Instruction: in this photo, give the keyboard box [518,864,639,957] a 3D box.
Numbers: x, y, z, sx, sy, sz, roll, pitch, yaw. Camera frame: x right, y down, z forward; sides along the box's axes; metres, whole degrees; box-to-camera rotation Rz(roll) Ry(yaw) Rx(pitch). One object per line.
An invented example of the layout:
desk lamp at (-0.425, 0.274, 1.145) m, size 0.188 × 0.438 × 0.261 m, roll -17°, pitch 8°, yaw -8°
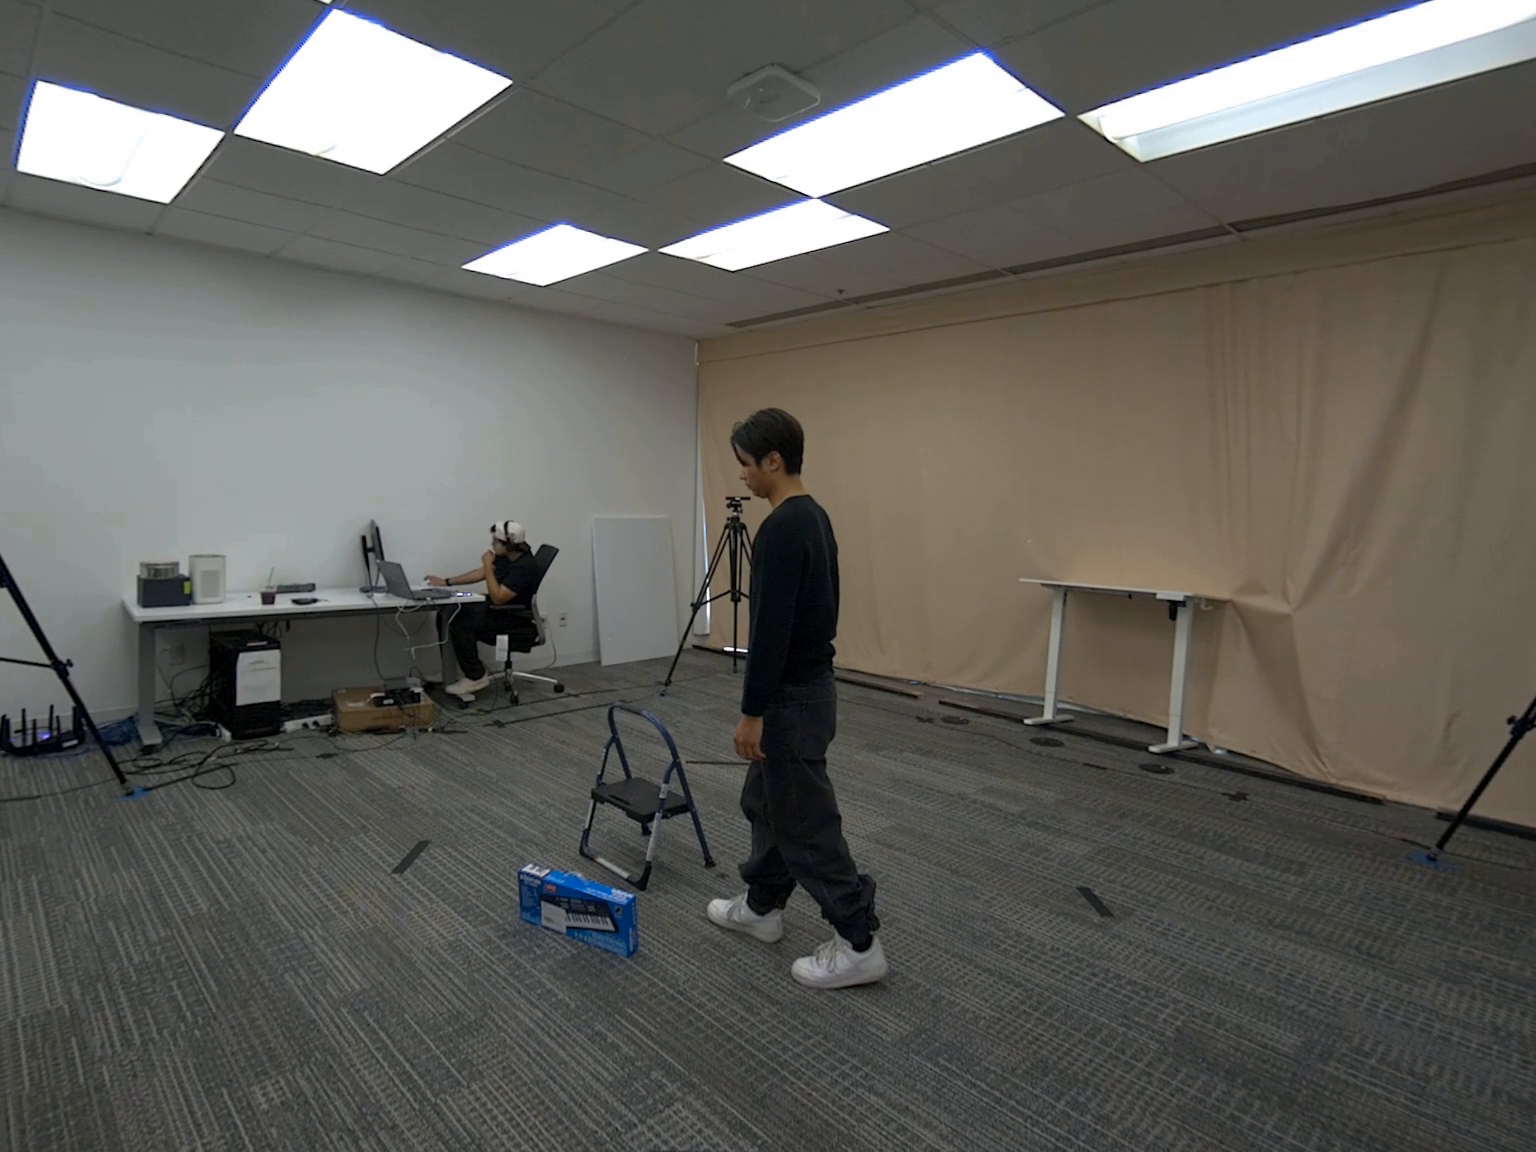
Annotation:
keyboard box at (-0.610, 1.048, 2.656) m, size 0.446 × 0.175 × 0.058 m, roll 4°, pitch 10°, yaw 30°
